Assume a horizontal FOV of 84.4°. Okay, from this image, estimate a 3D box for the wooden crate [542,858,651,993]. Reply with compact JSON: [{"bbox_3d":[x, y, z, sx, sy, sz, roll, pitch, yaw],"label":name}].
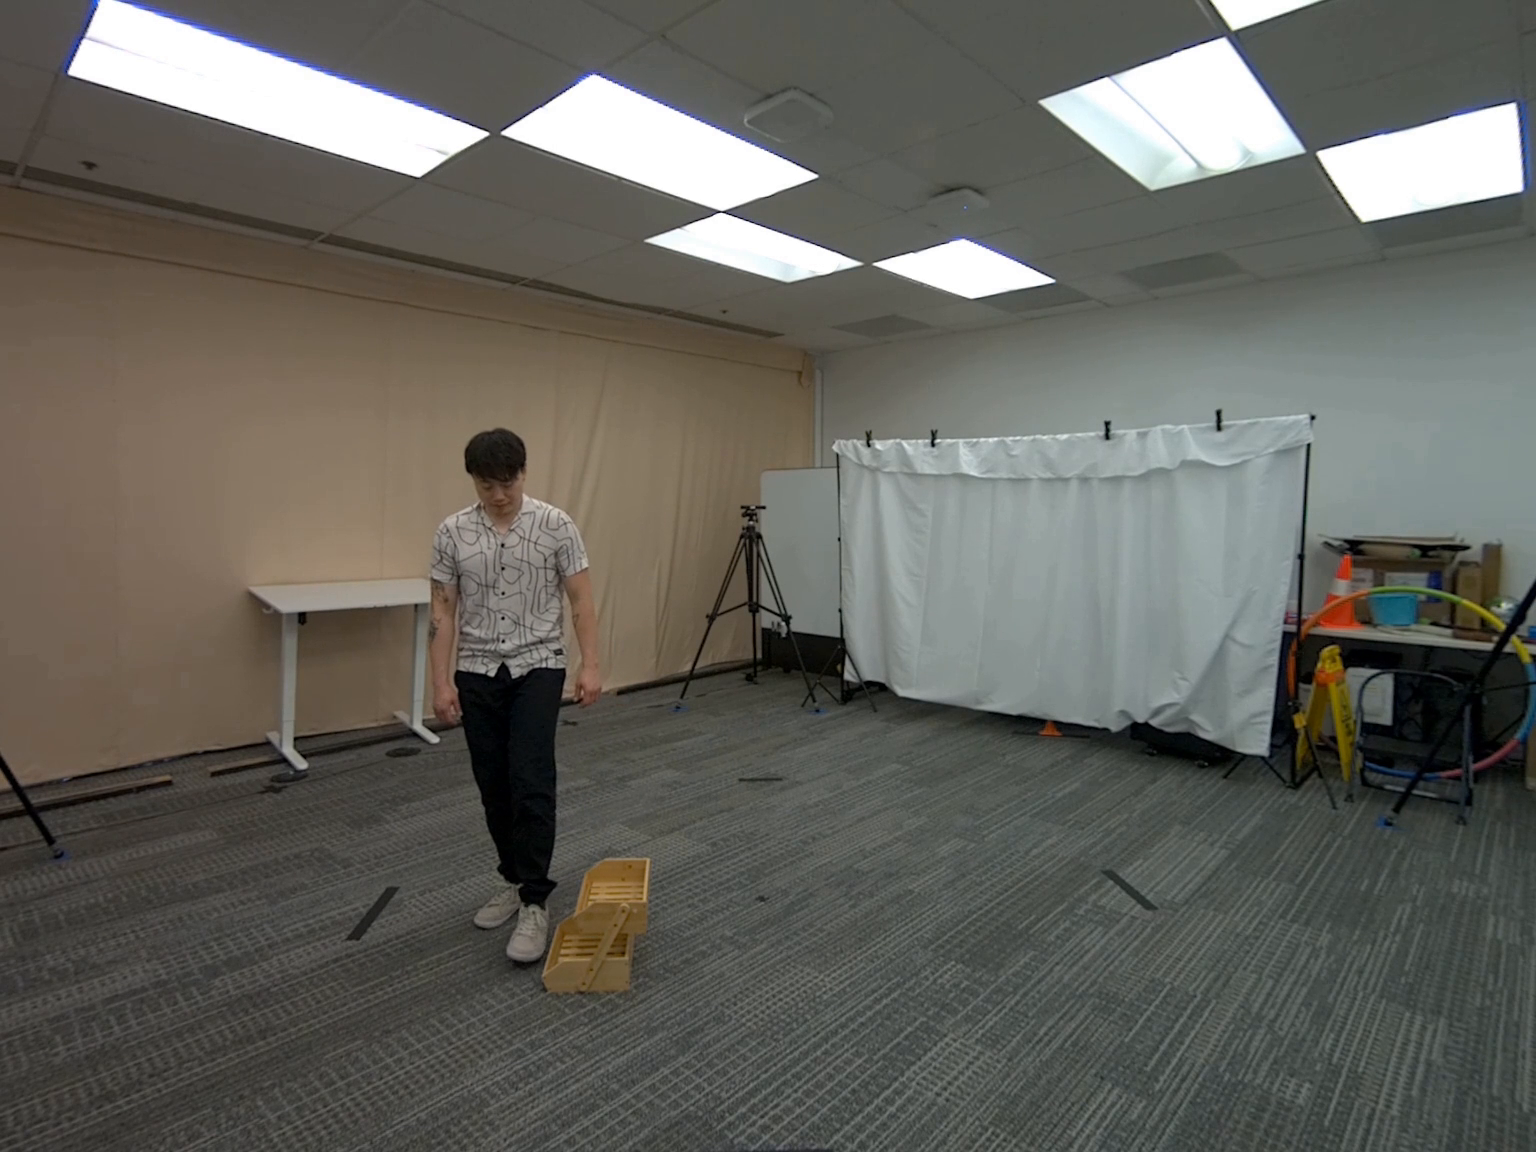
[{"bbox_3d":[-0.518,1.053,2.554,0.300,0.273,0.327,-1,4,-5],"label":"wooden crate"}]
